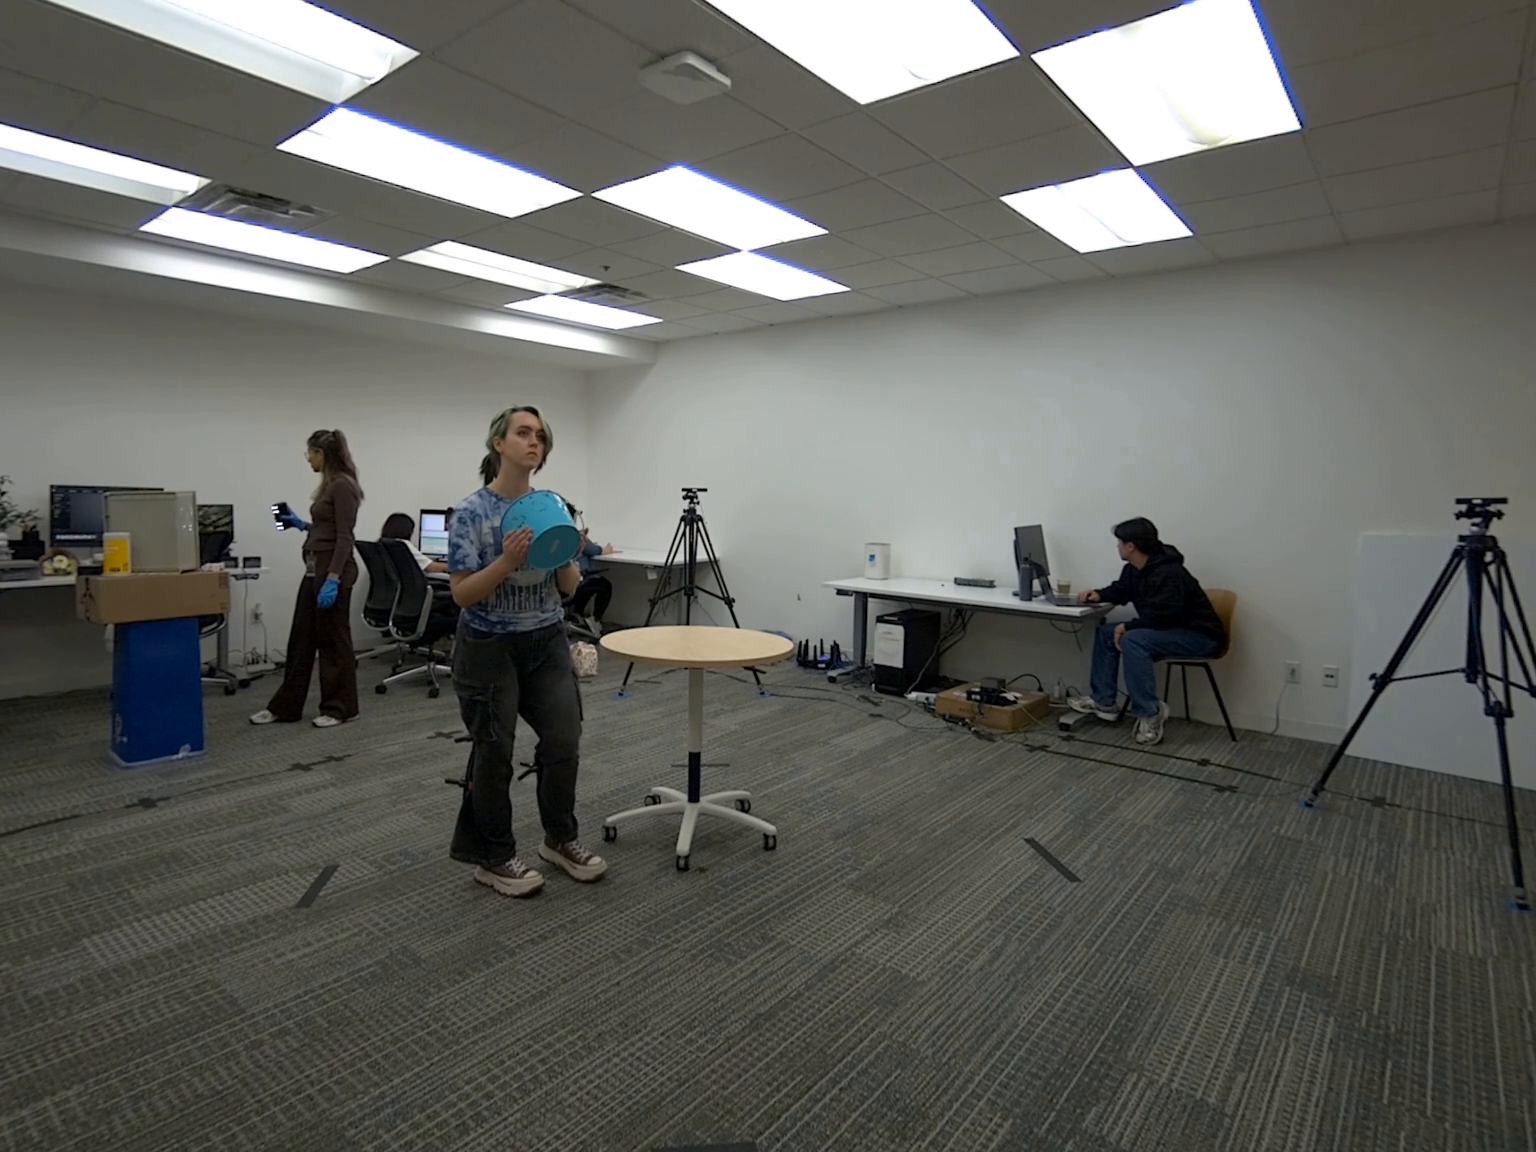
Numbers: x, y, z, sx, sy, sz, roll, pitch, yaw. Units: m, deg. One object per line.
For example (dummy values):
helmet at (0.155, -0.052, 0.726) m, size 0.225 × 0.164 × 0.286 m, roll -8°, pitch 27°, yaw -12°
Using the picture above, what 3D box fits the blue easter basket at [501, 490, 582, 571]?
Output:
blue easter basket at (-0.717, -0.140, 2.691) m, size 0.236 × 0.241 × 0.162 m, roll -3°, pitch 40°, yaw -44°
